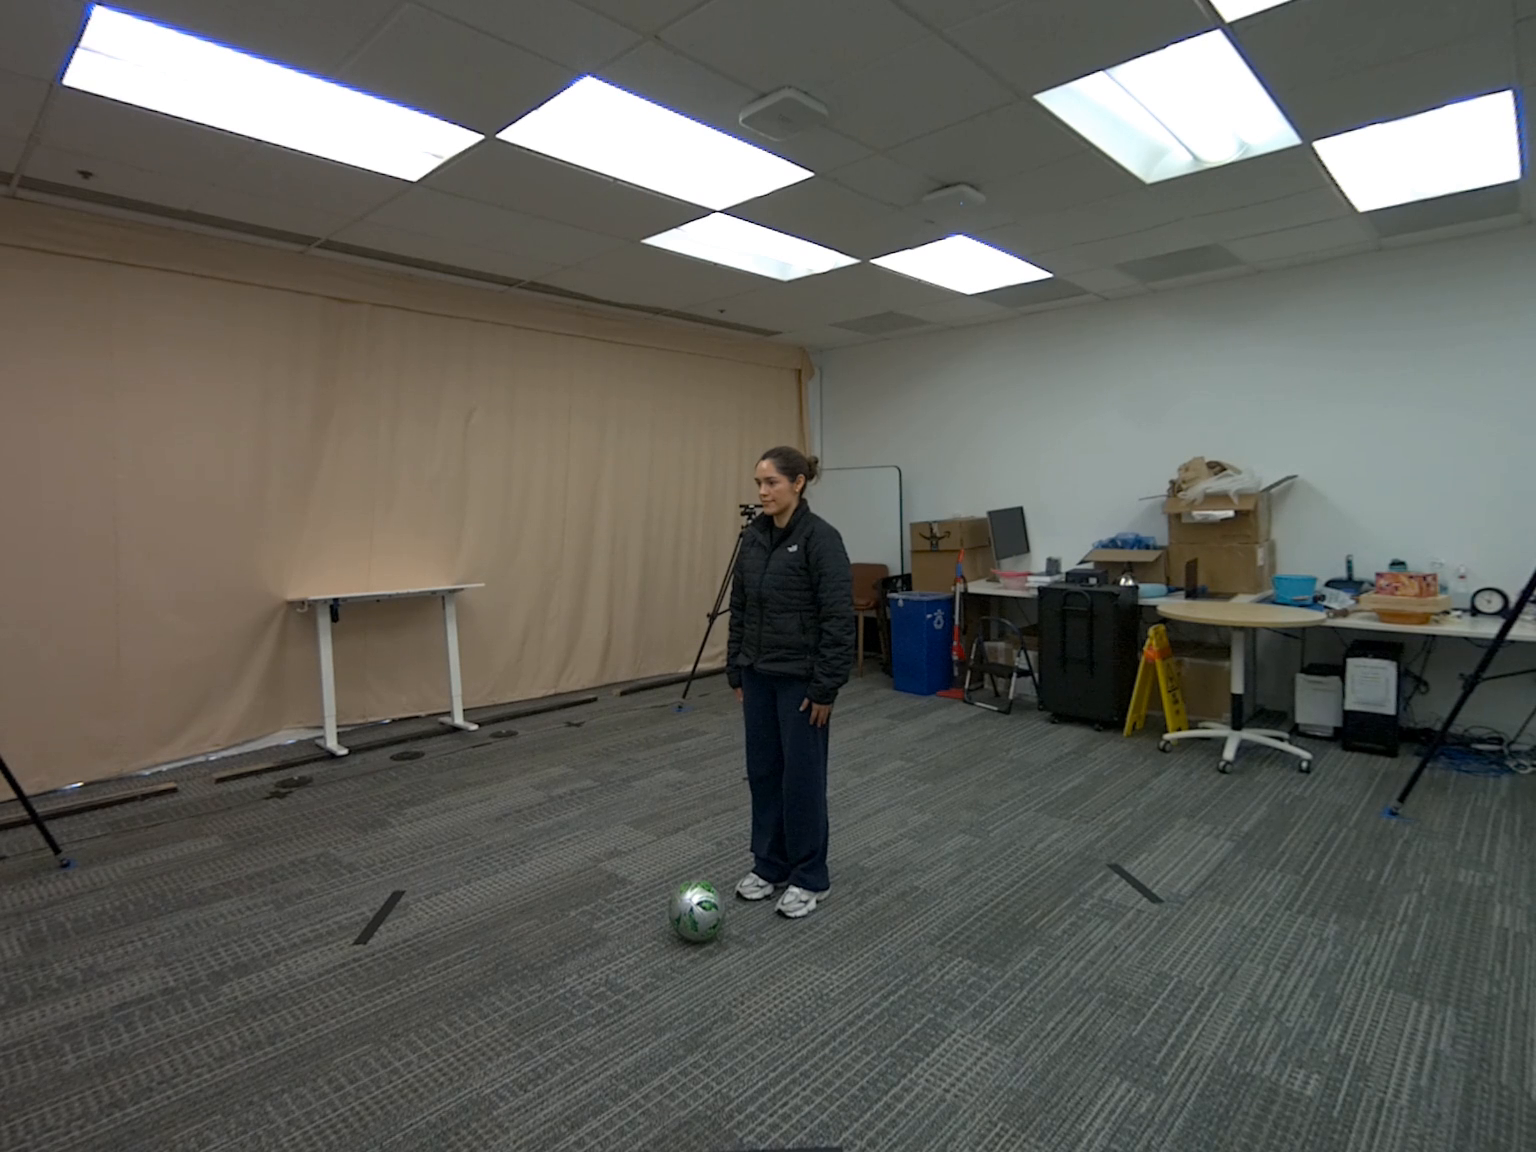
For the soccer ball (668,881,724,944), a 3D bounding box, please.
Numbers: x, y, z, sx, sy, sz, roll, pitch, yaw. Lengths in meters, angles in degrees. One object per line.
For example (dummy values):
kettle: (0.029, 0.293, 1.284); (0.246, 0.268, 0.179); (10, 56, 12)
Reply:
soccer ball: (-0.224, 1.075, 2.703); (0.187, 0.187, 0.188); (-1, 4, -2)
